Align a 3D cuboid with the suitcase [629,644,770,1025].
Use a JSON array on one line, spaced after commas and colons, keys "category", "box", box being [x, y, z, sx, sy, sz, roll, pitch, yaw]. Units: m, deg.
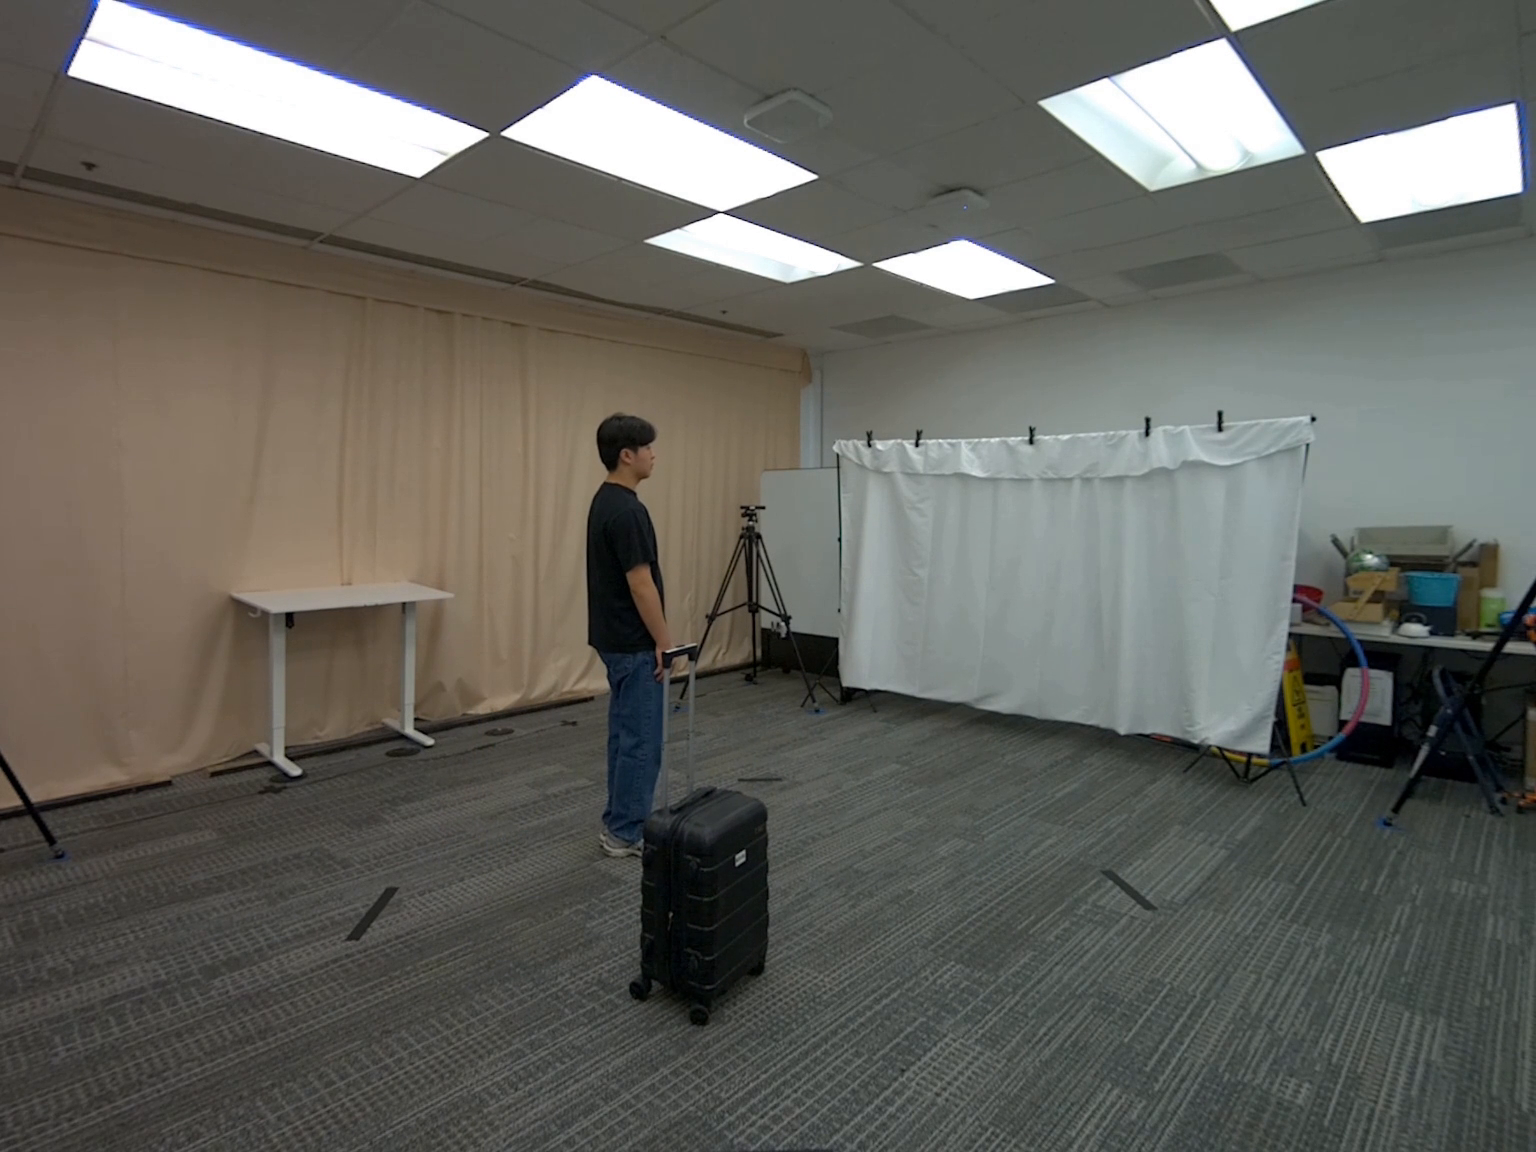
[{"category": "suitcase", "box": [-0.165, 0.717, 2.420, 0.265, 0.976, 0.373, 6, 6, 31]}]
